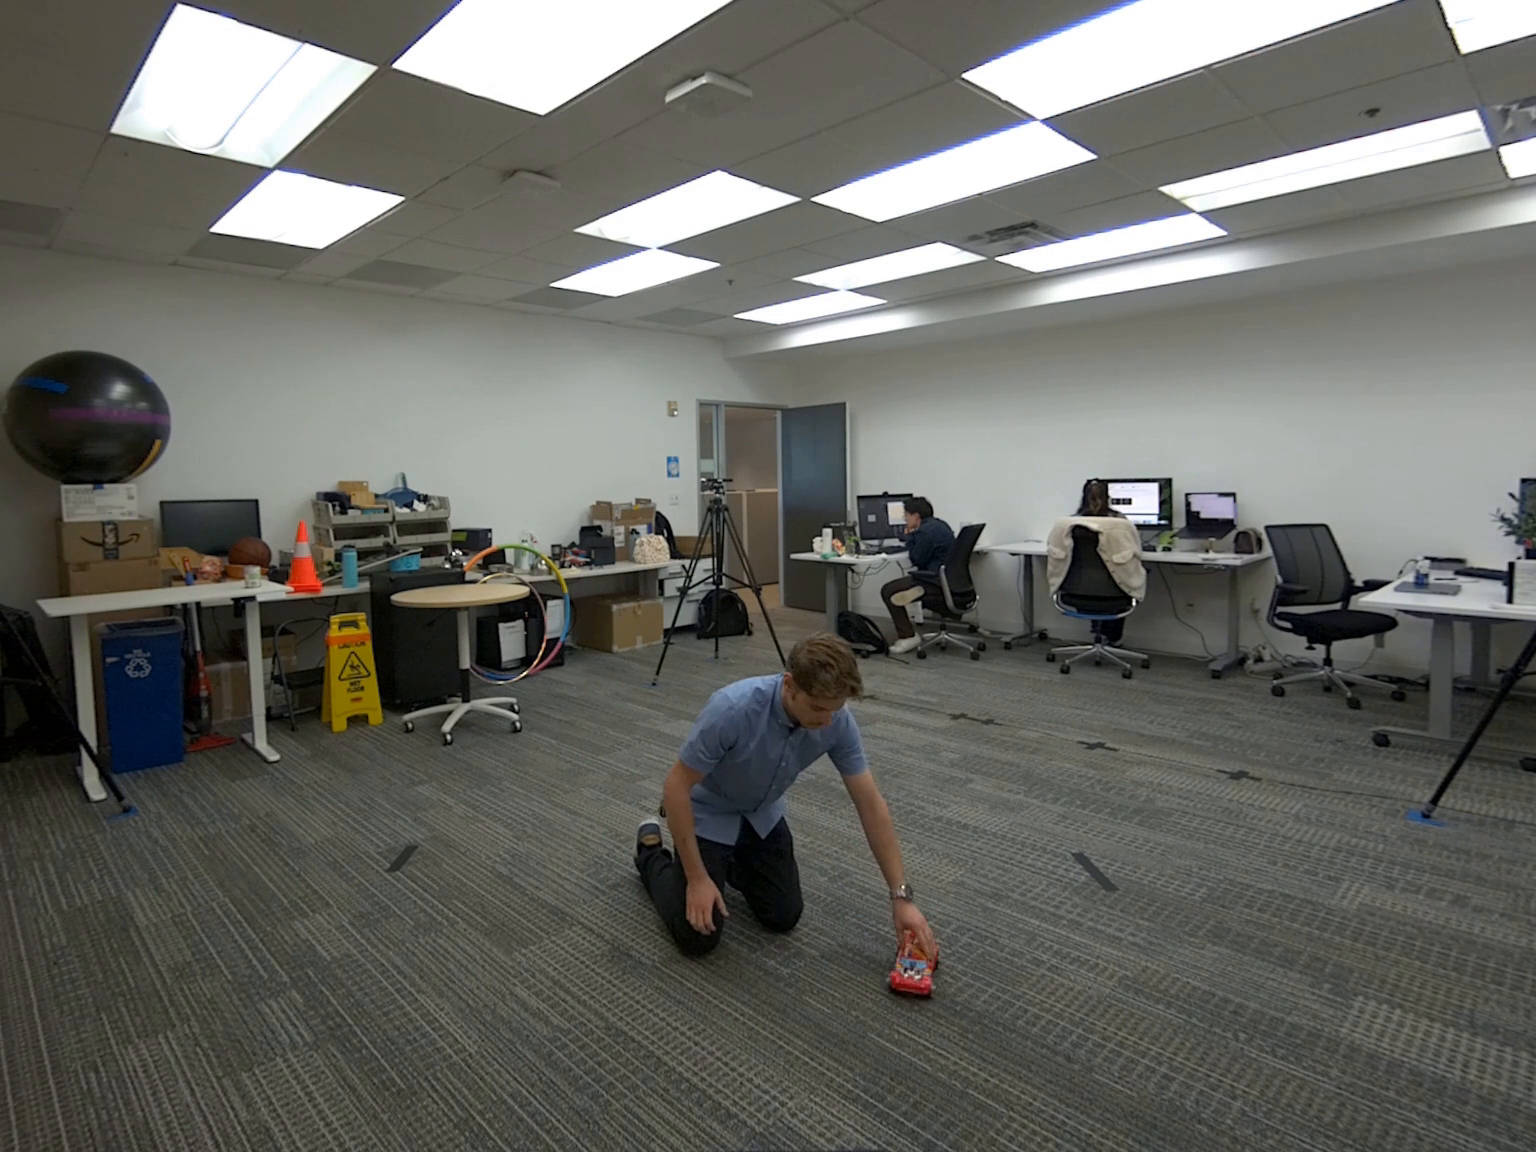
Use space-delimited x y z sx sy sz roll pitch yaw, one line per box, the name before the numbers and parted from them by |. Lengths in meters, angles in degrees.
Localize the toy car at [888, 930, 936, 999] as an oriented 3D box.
toy car | 0.400 1.085 2.394 0.133 0.082 0.253 2 16 18
